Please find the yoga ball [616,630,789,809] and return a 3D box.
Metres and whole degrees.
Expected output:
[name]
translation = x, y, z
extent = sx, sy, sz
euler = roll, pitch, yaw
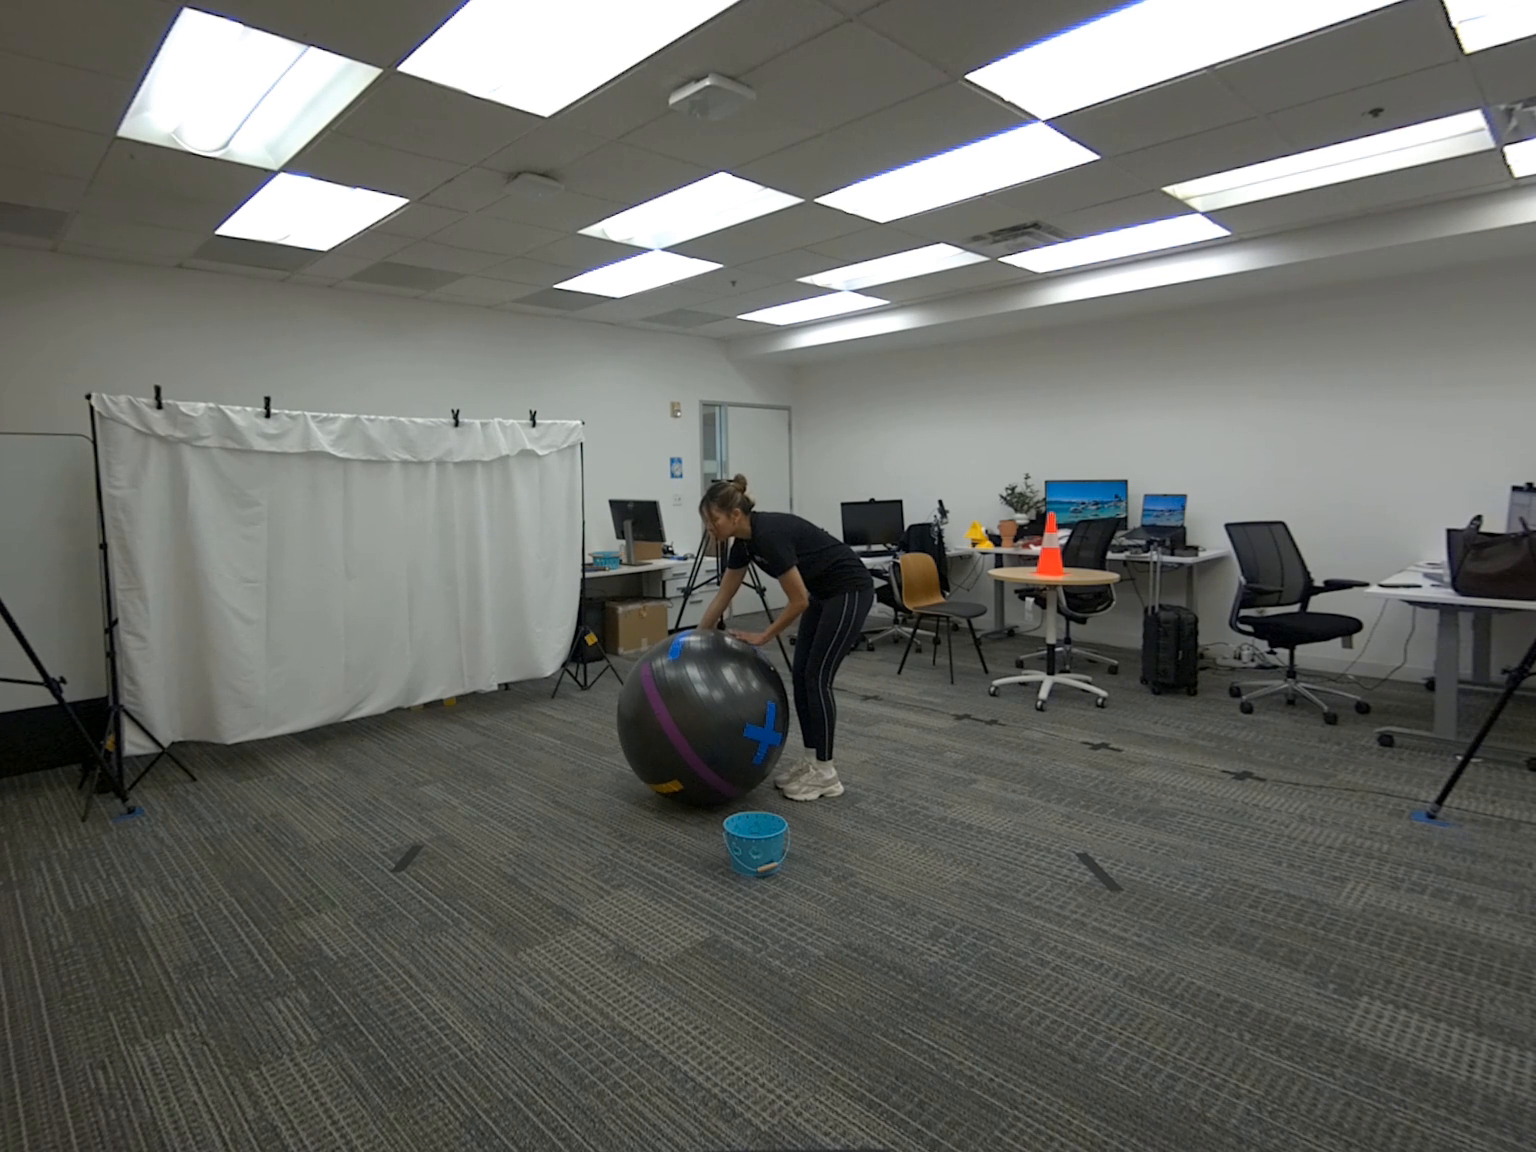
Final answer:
[yoga ball]
translation = -0.293, 0.610, 3.745
extent = 0.757, 0.755, 0.762
euler = -1, 5, -2
